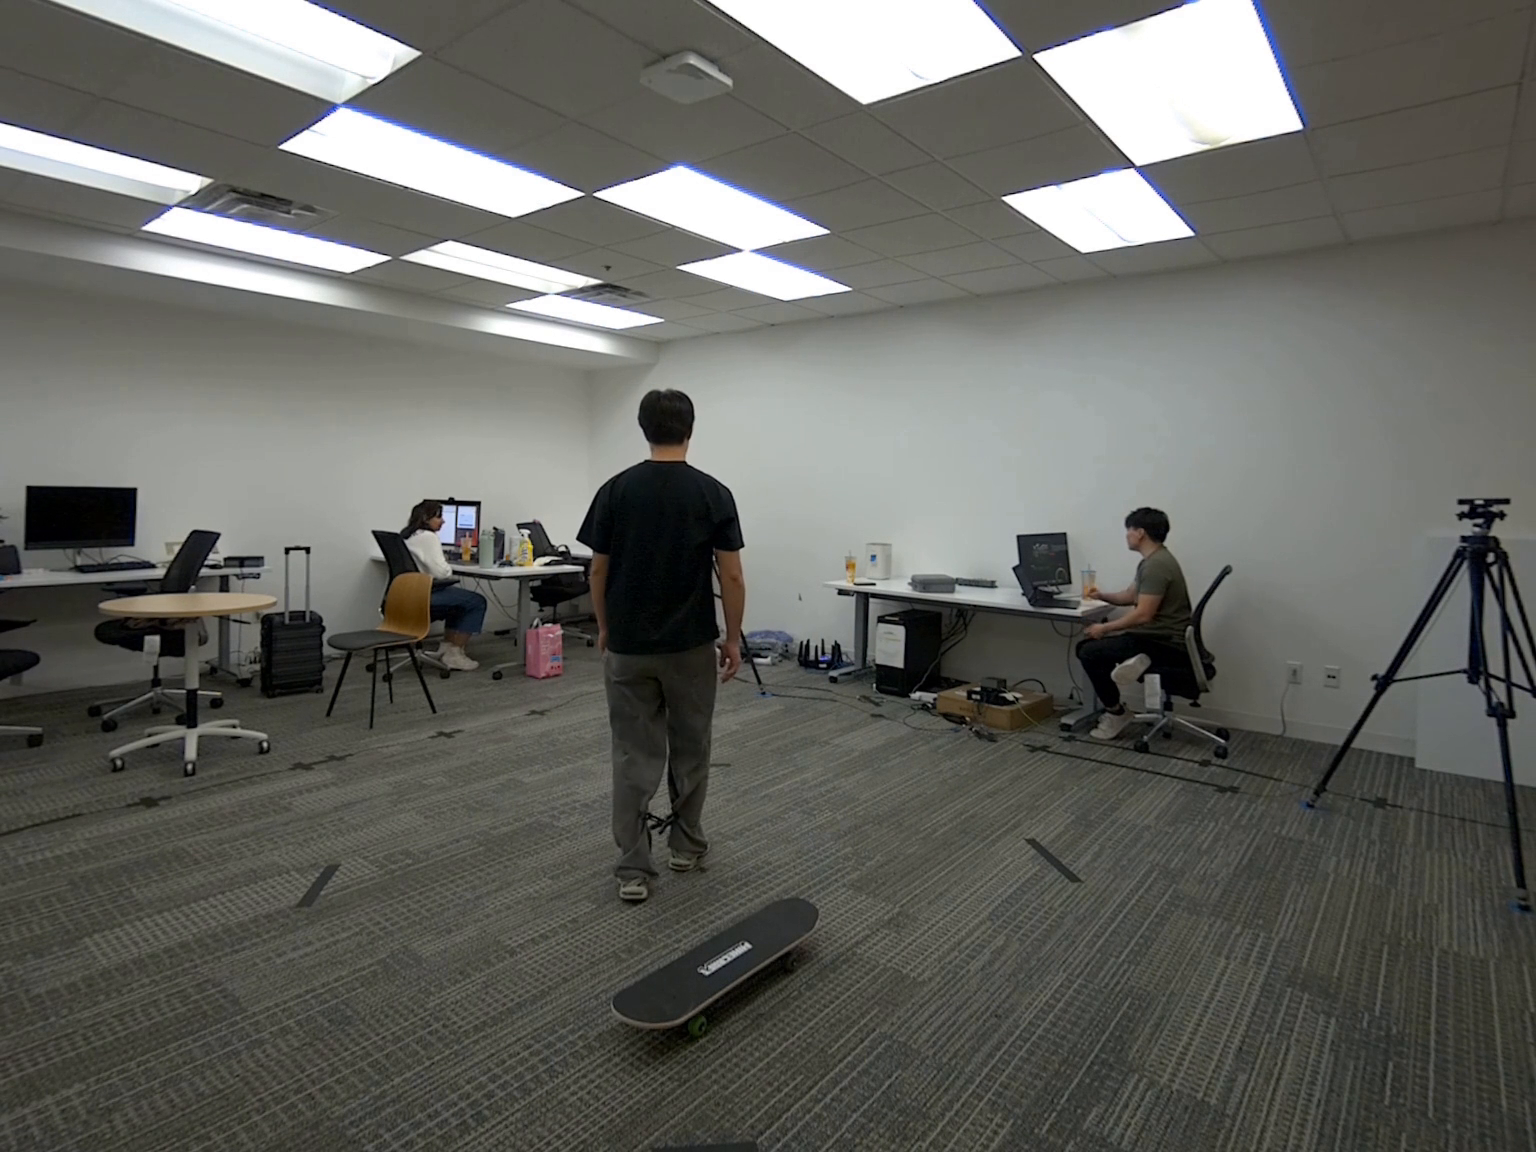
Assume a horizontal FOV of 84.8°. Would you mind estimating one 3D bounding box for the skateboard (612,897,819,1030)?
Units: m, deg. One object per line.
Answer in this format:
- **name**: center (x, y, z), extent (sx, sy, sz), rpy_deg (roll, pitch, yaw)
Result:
- **skateboard**: center (-0.124, 1.093, 2.359), extent (0.200, 0.110, 0.763), rpy_deg (6, 8, 39)
